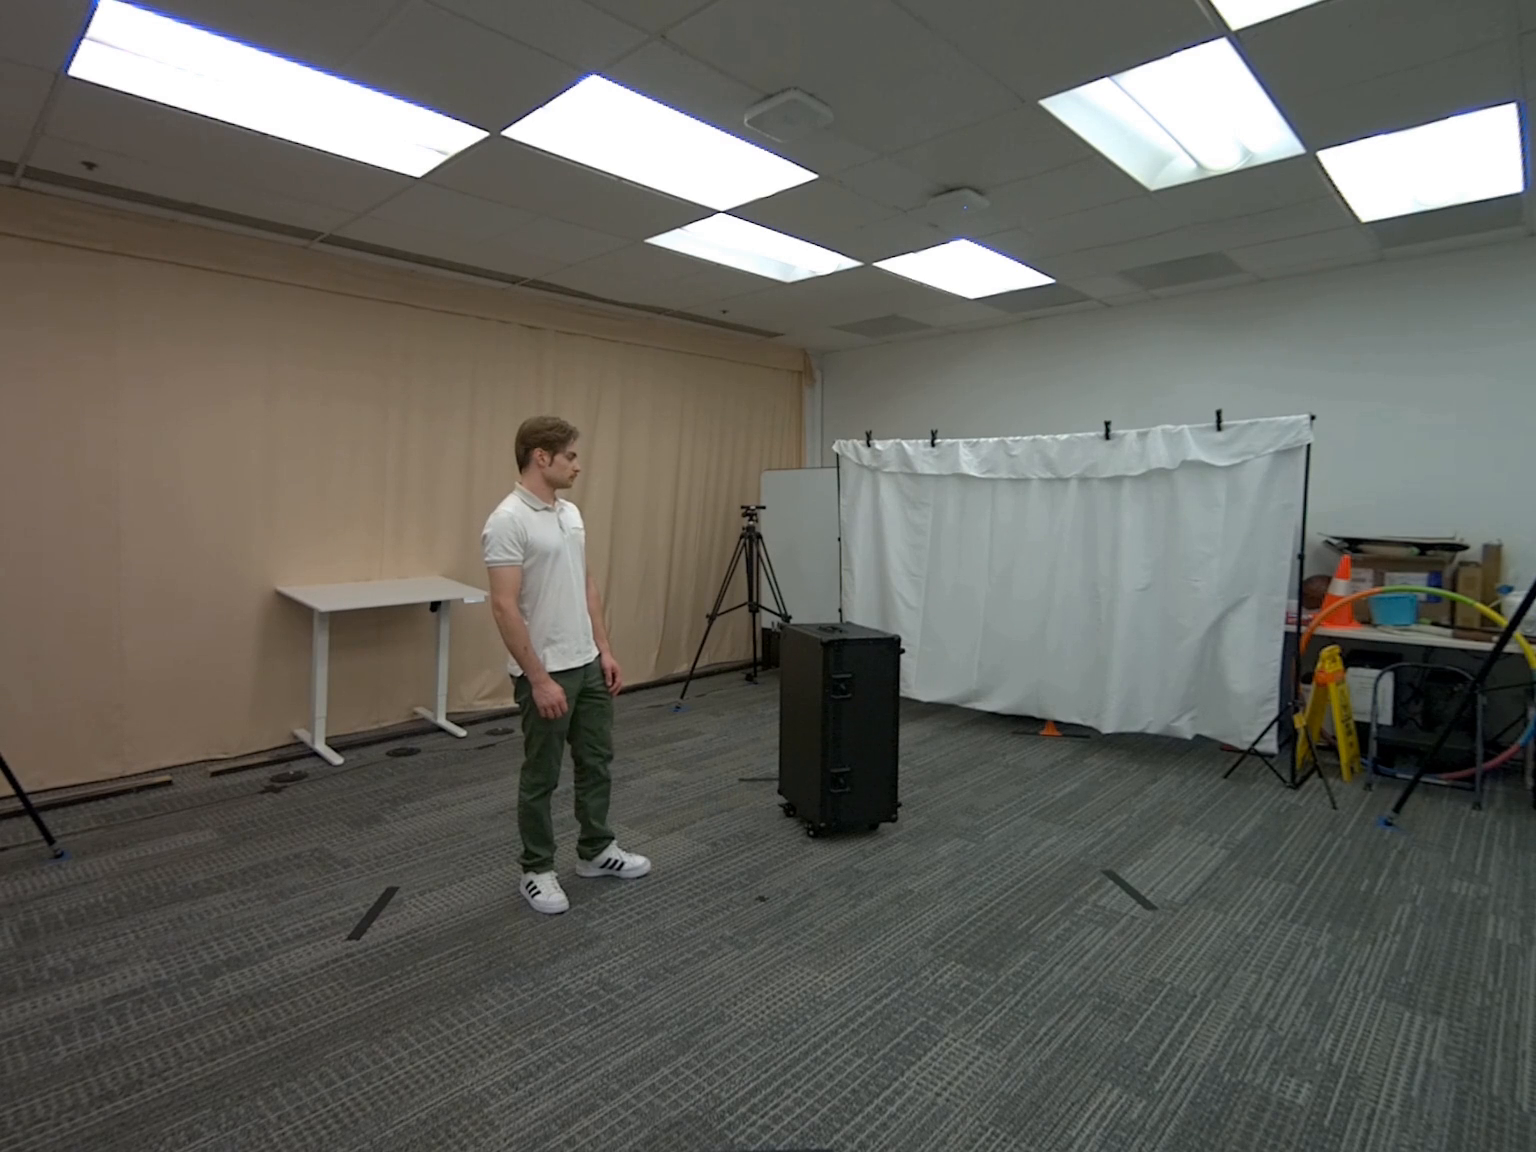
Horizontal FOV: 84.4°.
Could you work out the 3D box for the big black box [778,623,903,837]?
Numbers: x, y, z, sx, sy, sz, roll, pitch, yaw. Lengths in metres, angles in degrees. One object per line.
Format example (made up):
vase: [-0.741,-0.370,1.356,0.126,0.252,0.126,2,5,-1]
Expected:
big black box: [0.304,0.663,3.692,0.378,0.867,0.534,0,3,-19]
